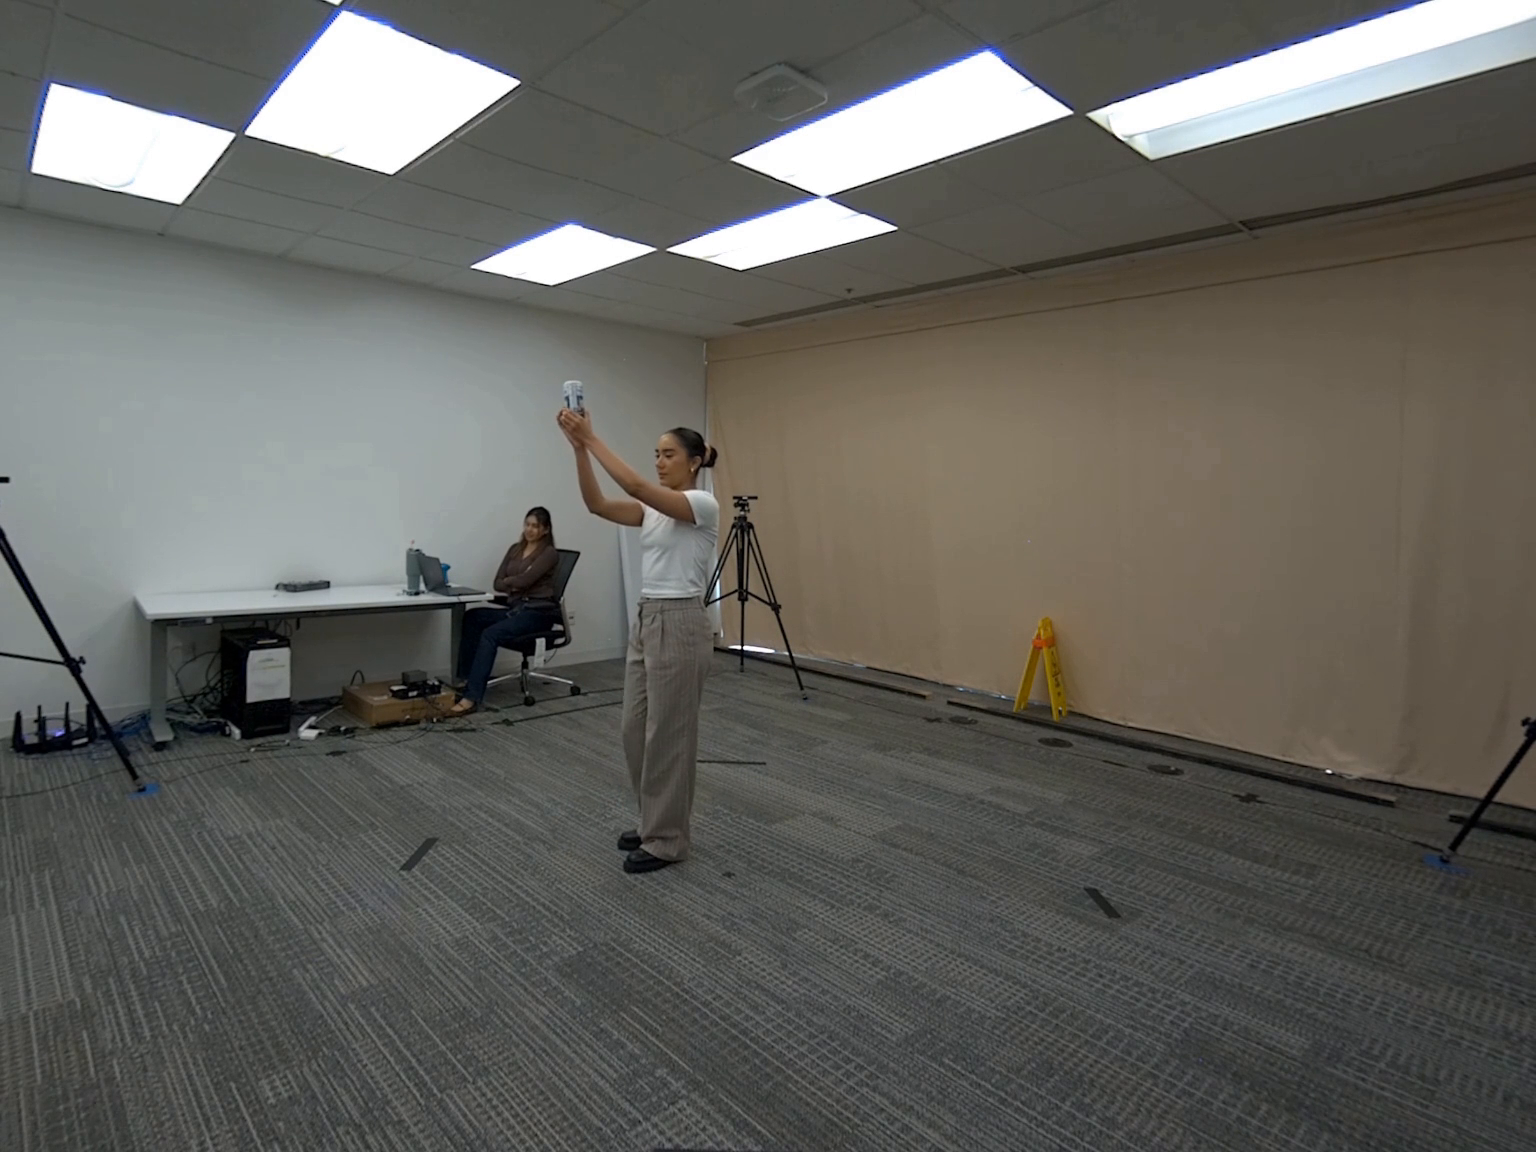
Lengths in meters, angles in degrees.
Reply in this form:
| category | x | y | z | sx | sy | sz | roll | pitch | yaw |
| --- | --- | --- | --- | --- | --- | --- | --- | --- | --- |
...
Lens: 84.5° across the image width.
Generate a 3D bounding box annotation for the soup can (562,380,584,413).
| category | x | y | z | sx | sy | sz | roll | pitch | yaw |
| --- | --- | --- | --- | --- | --- | --- | --- | --- | --- |
| soup can | -0.708 | -0.635 | 3.017 | 0.067 | 0.122 | 0.067 | -5 | -3 | -2 |
